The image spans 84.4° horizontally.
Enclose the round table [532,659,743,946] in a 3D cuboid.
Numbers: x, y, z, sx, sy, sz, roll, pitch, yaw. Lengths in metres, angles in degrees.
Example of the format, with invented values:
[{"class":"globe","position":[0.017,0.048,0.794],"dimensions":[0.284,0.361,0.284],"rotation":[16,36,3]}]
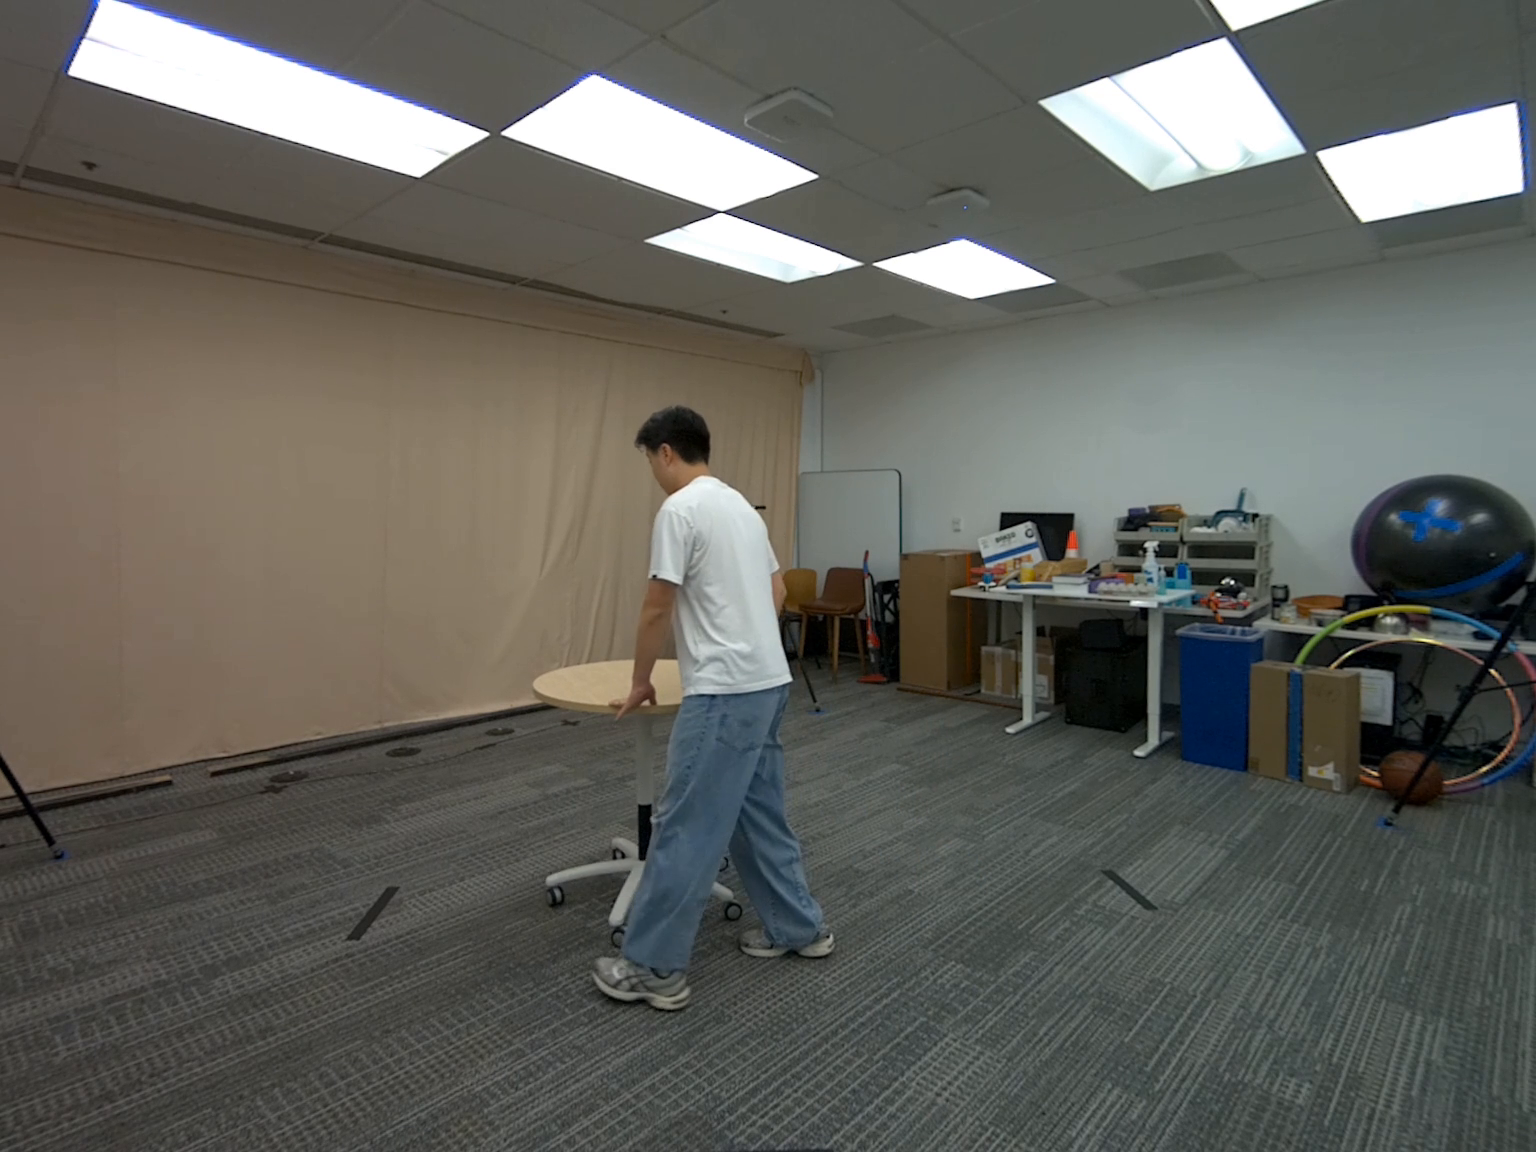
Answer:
[{"class":"round table","position":[-0.427,0.758,2.983],"dimensions":[0.763,0.792,0.766],"rotation":[-1,4,-2]}]
